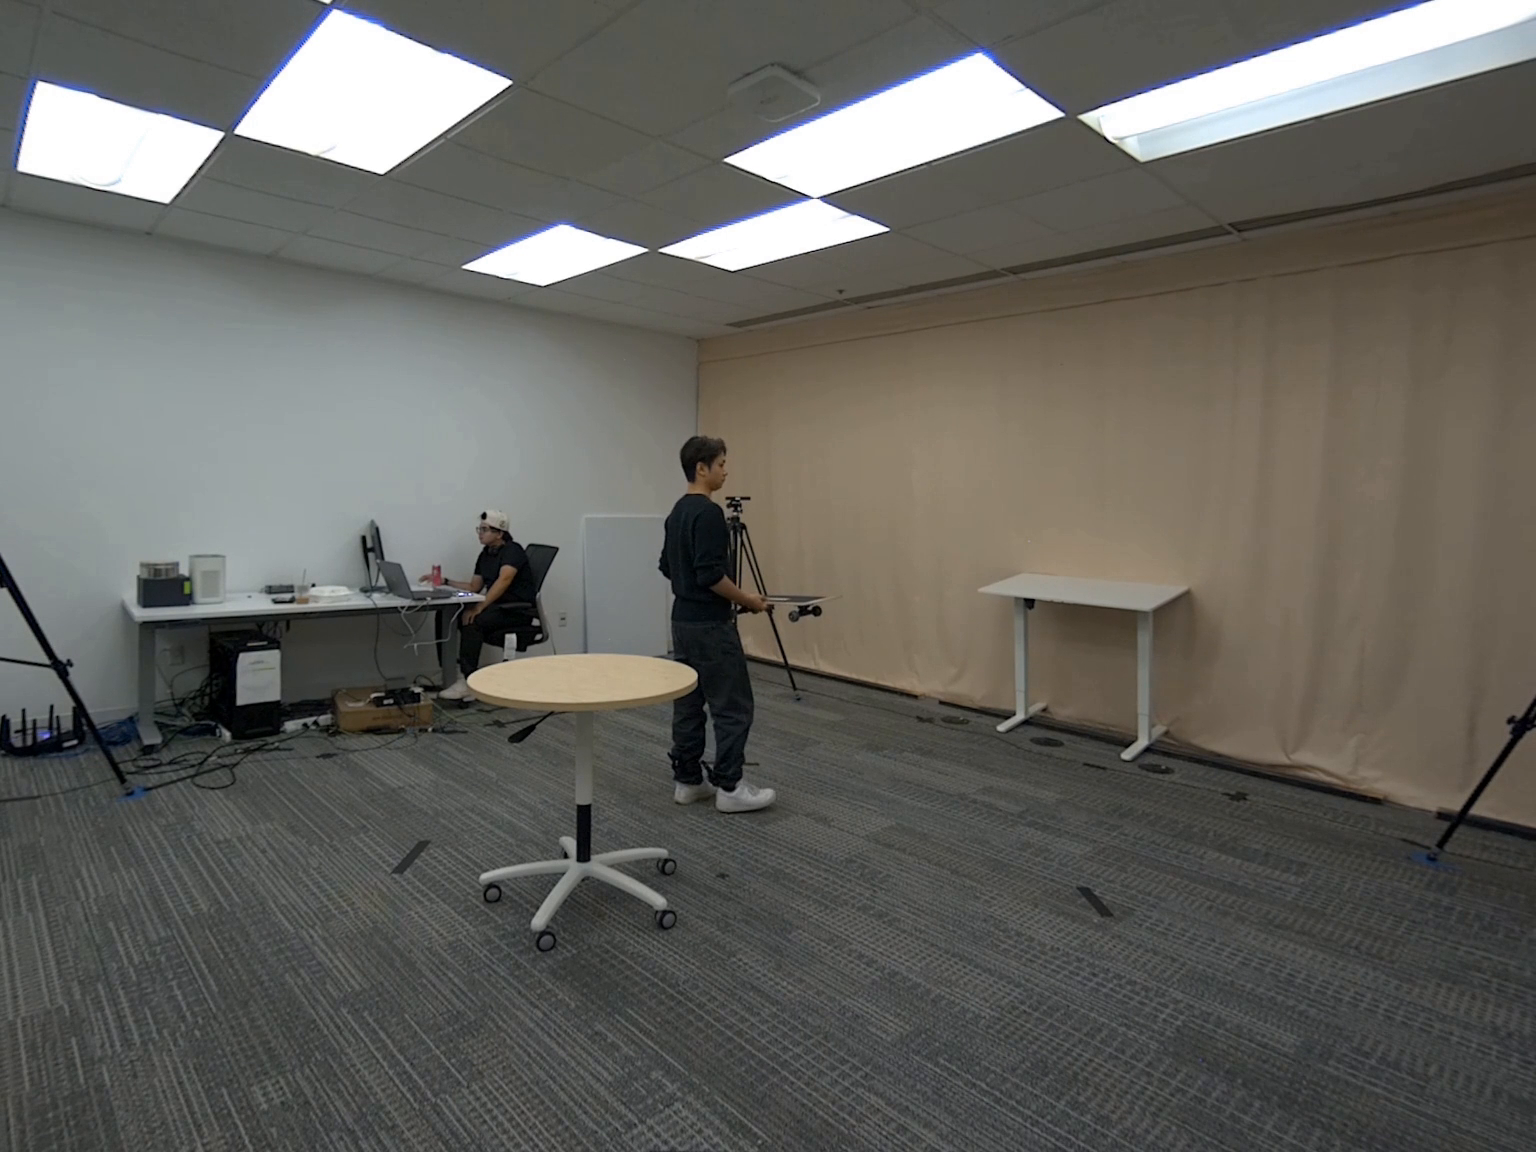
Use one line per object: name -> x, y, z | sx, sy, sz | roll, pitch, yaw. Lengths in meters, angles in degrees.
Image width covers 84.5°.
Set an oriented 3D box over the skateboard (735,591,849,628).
skateboard -> 0.002, 0.147, 3.909 | 0.189, 0.110, 0.804 | -10, 7, -42
